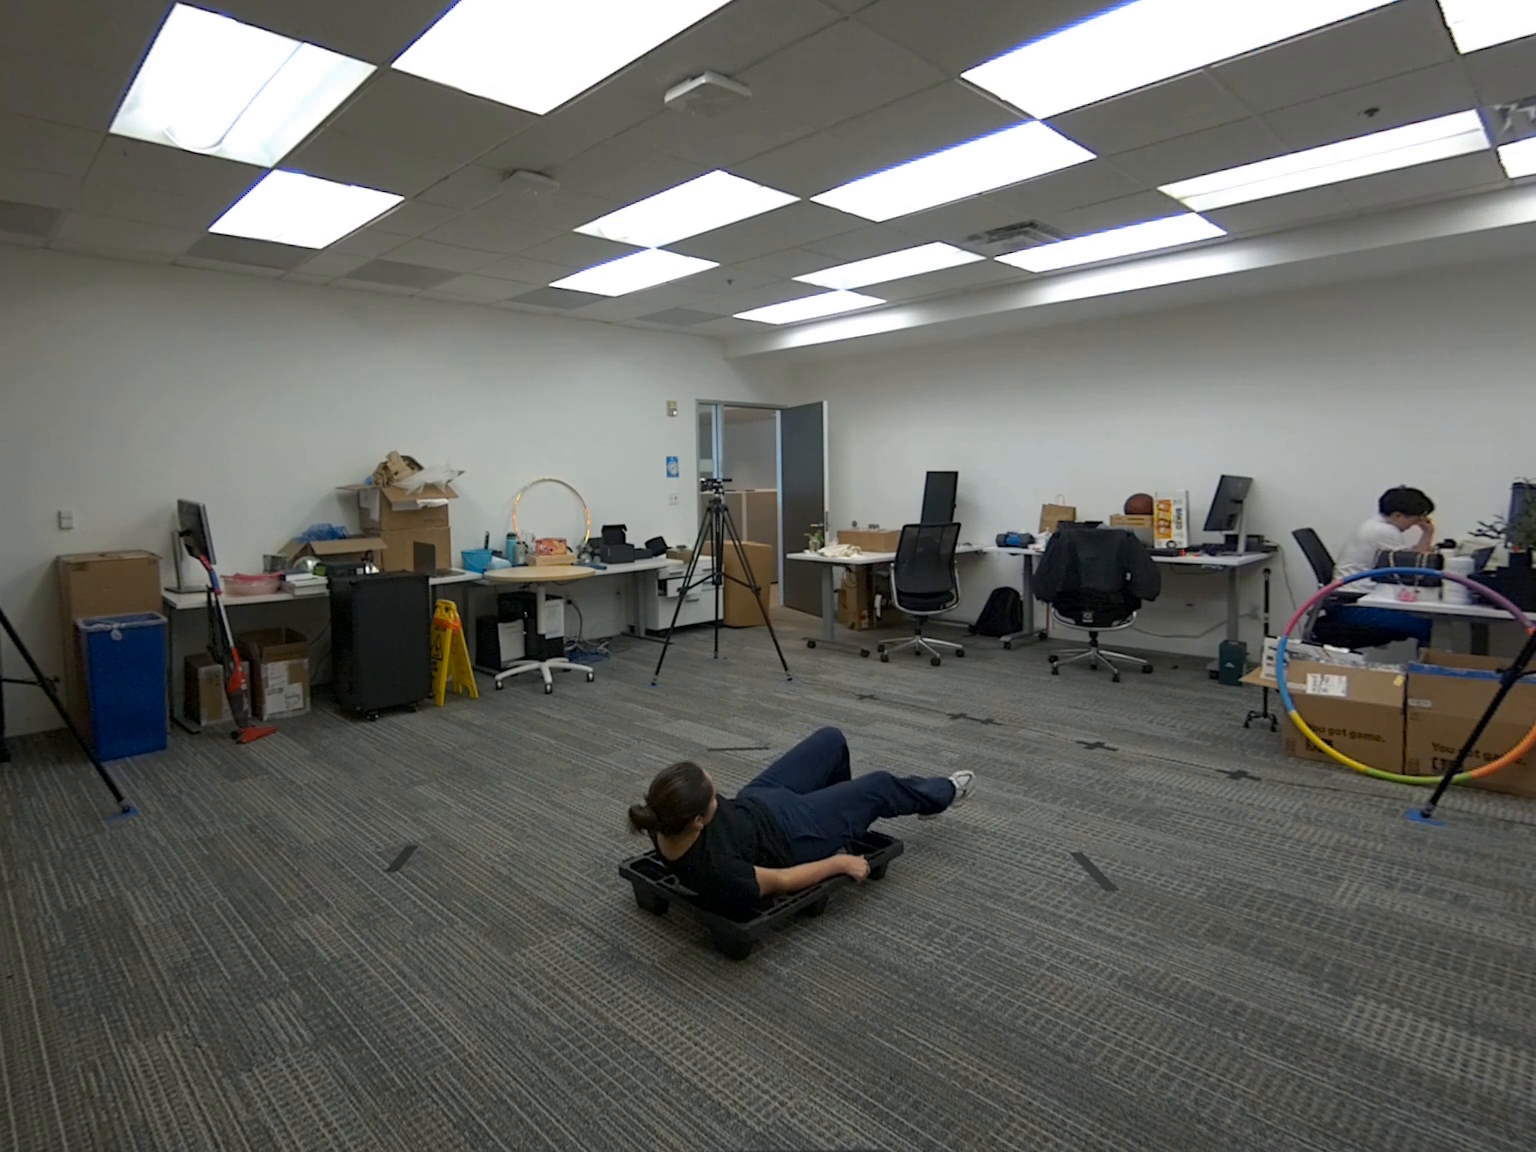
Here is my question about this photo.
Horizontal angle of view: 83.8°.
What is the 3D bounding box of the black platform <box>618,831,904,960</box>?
[{"bbox_3d":[-0.007,1.000,2.909,0.624,0.142,0.785,7,10,43],"label":"black platform"}]
